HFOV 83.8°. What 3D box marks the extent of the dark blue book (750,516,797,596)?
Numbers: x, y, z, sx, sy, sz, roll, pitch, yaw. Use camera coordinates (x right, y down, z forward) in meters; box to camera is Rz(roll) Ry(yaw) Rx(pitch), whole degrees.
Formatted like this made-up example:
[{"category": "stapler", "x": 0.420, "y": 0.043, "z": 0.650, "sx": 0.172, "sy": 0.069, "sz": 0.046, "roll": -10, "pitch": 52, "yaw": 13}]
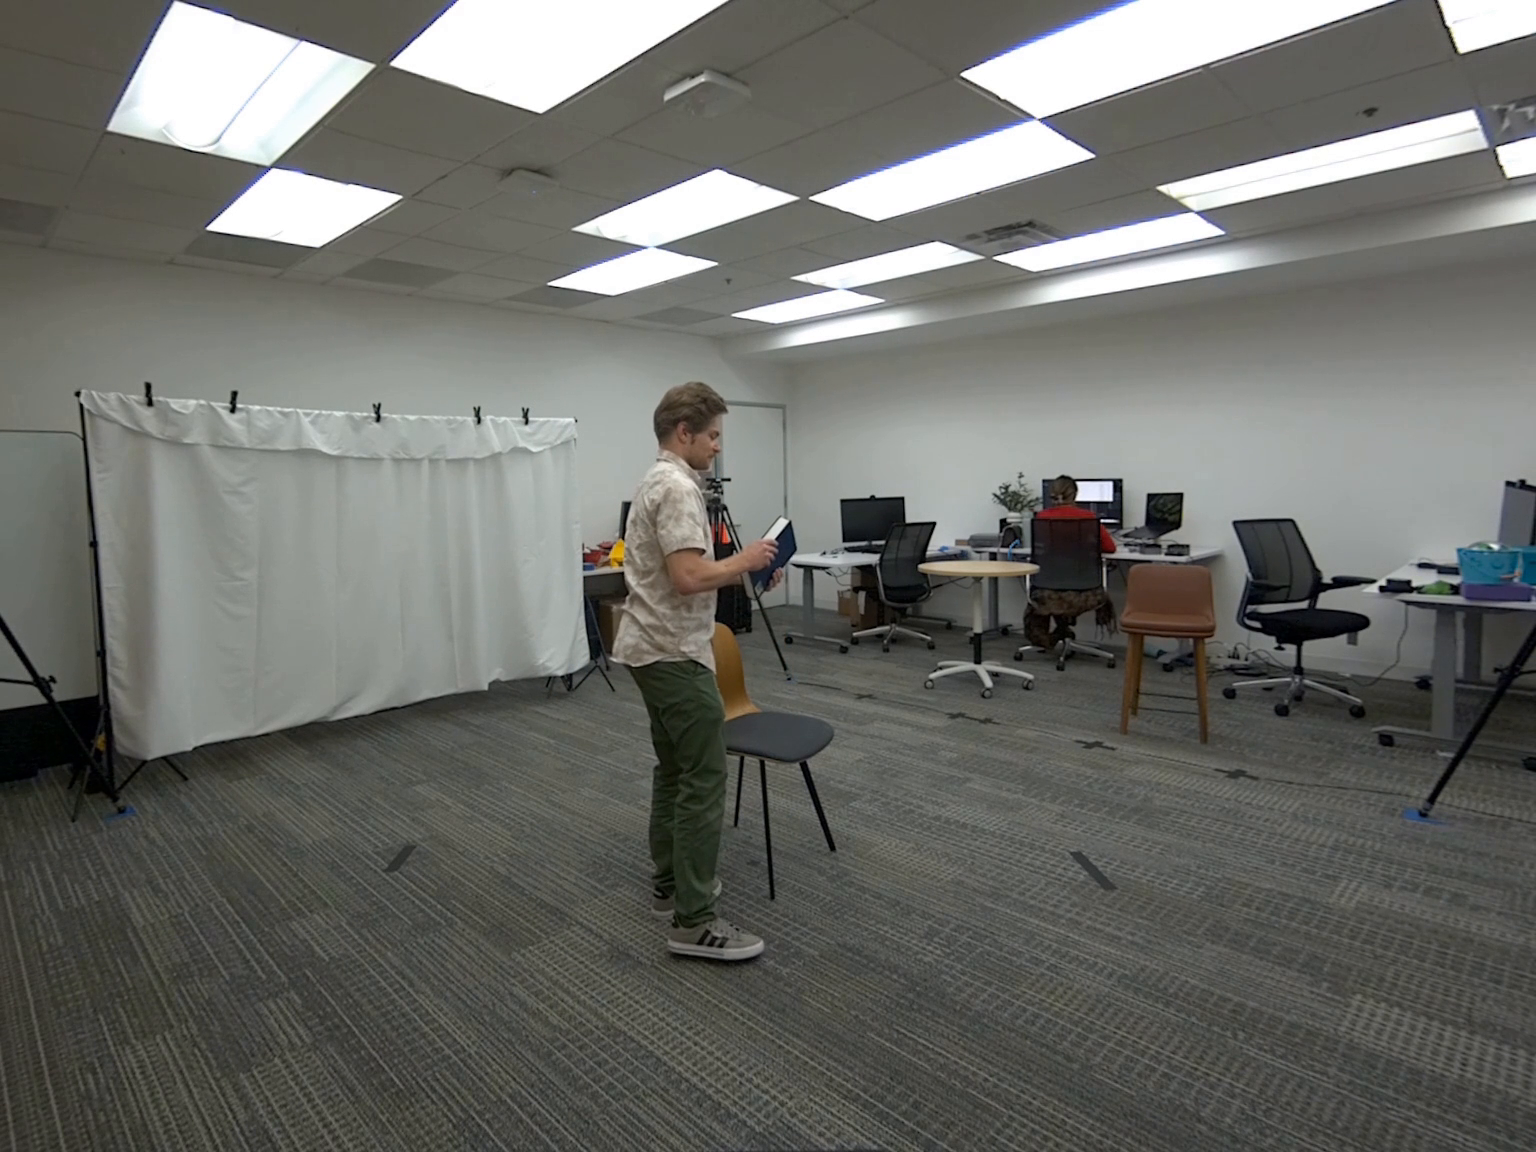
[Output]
[{"category": "dark blue book", "x": 0.003, "y": -0.058, "z": 2.798, "sx": 0.047, "sy": 0.245, "sz": 0.158, "roll": 25, "pitch": -28, "yaw": 29}]
